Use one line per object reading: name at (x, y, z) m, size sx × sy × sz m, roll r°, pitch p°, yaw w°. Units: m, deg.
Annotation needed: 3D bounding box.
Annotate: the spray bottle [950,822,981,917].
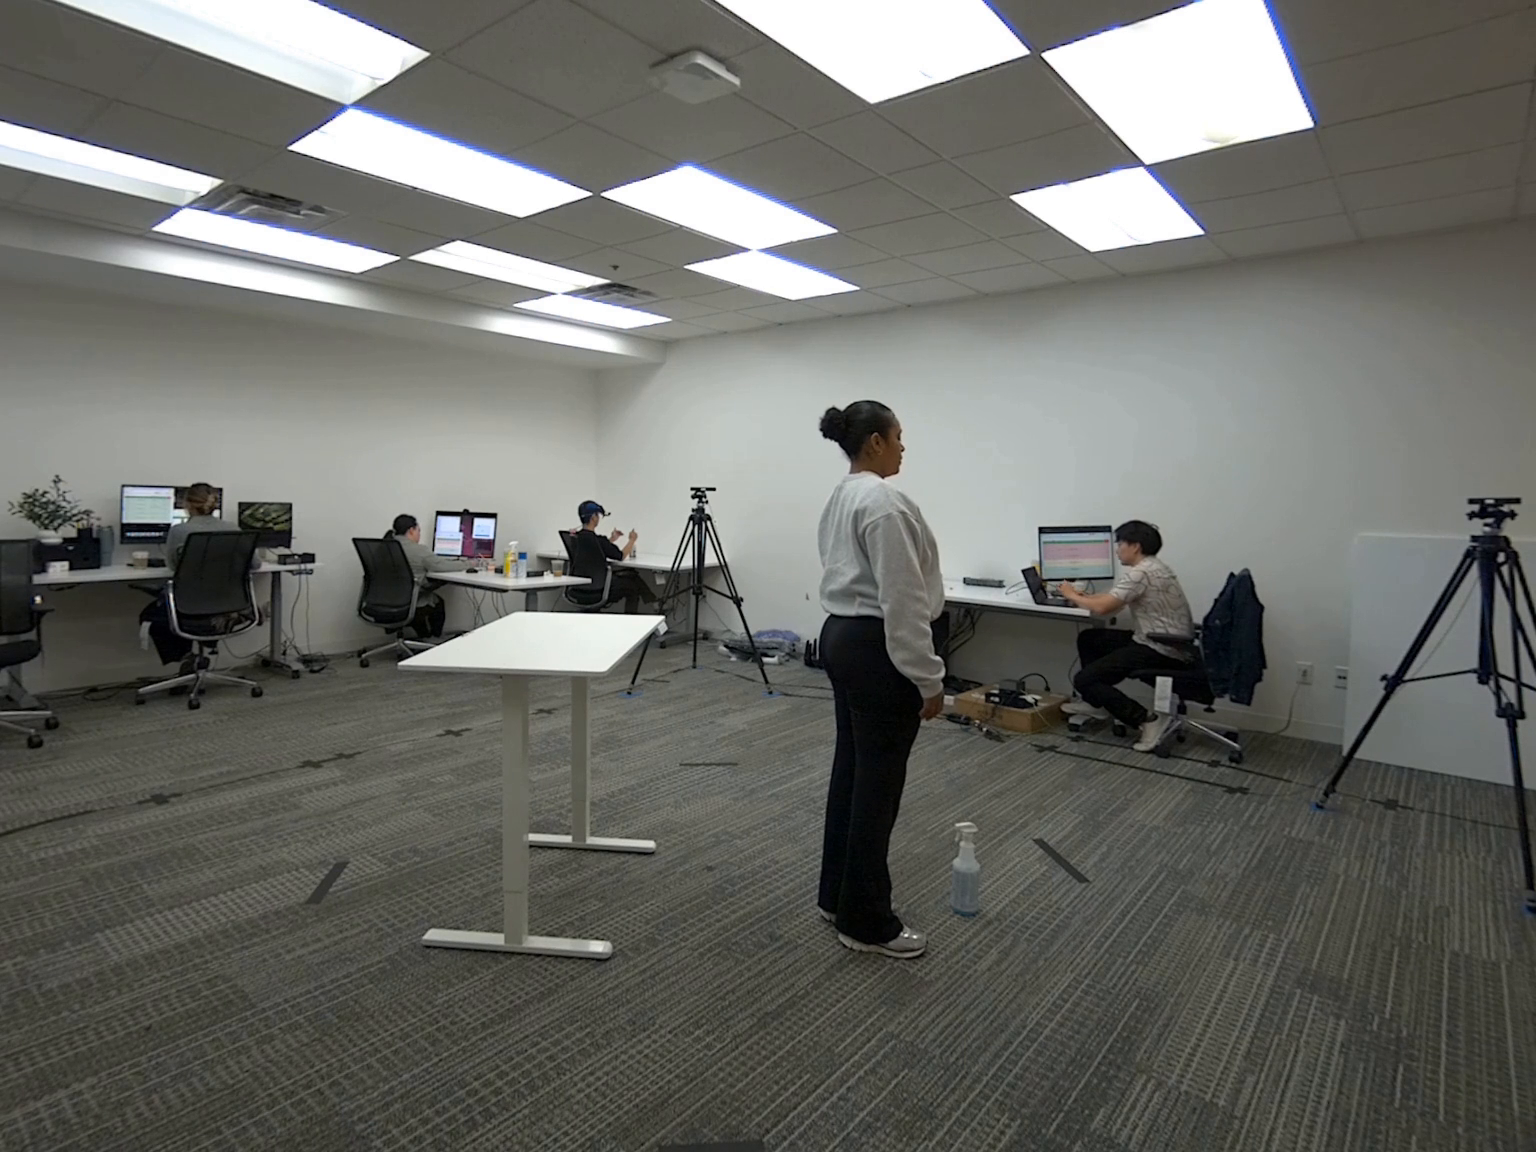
spray bottle at (0.656, 0.973, 2.837) m, size 0.090 × 0.296 × 0.087 m, roll -1°, pitch 4°, yaw 0°
